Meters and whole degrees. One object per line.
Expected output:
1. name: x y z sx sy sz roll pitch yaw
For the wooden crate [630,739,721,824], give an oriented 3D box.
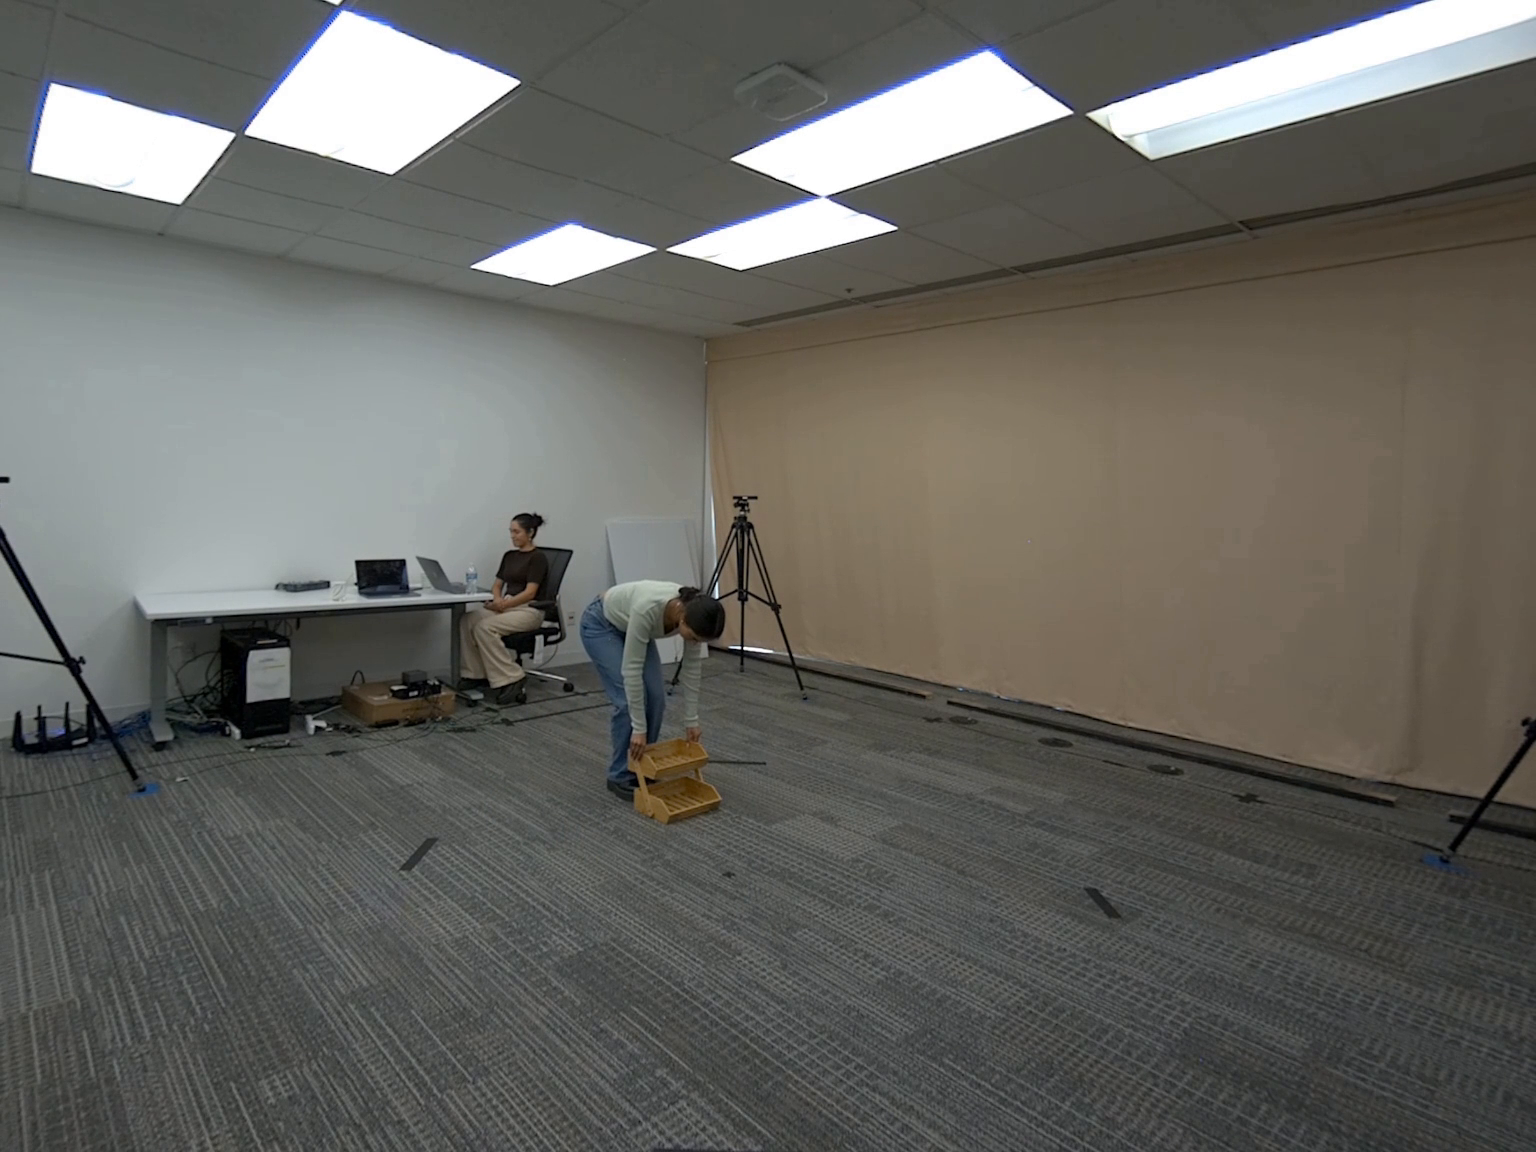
1. wooden crate: -0.425 0.904 3.761 0.317 0.273 0.309 -3 5 -45
